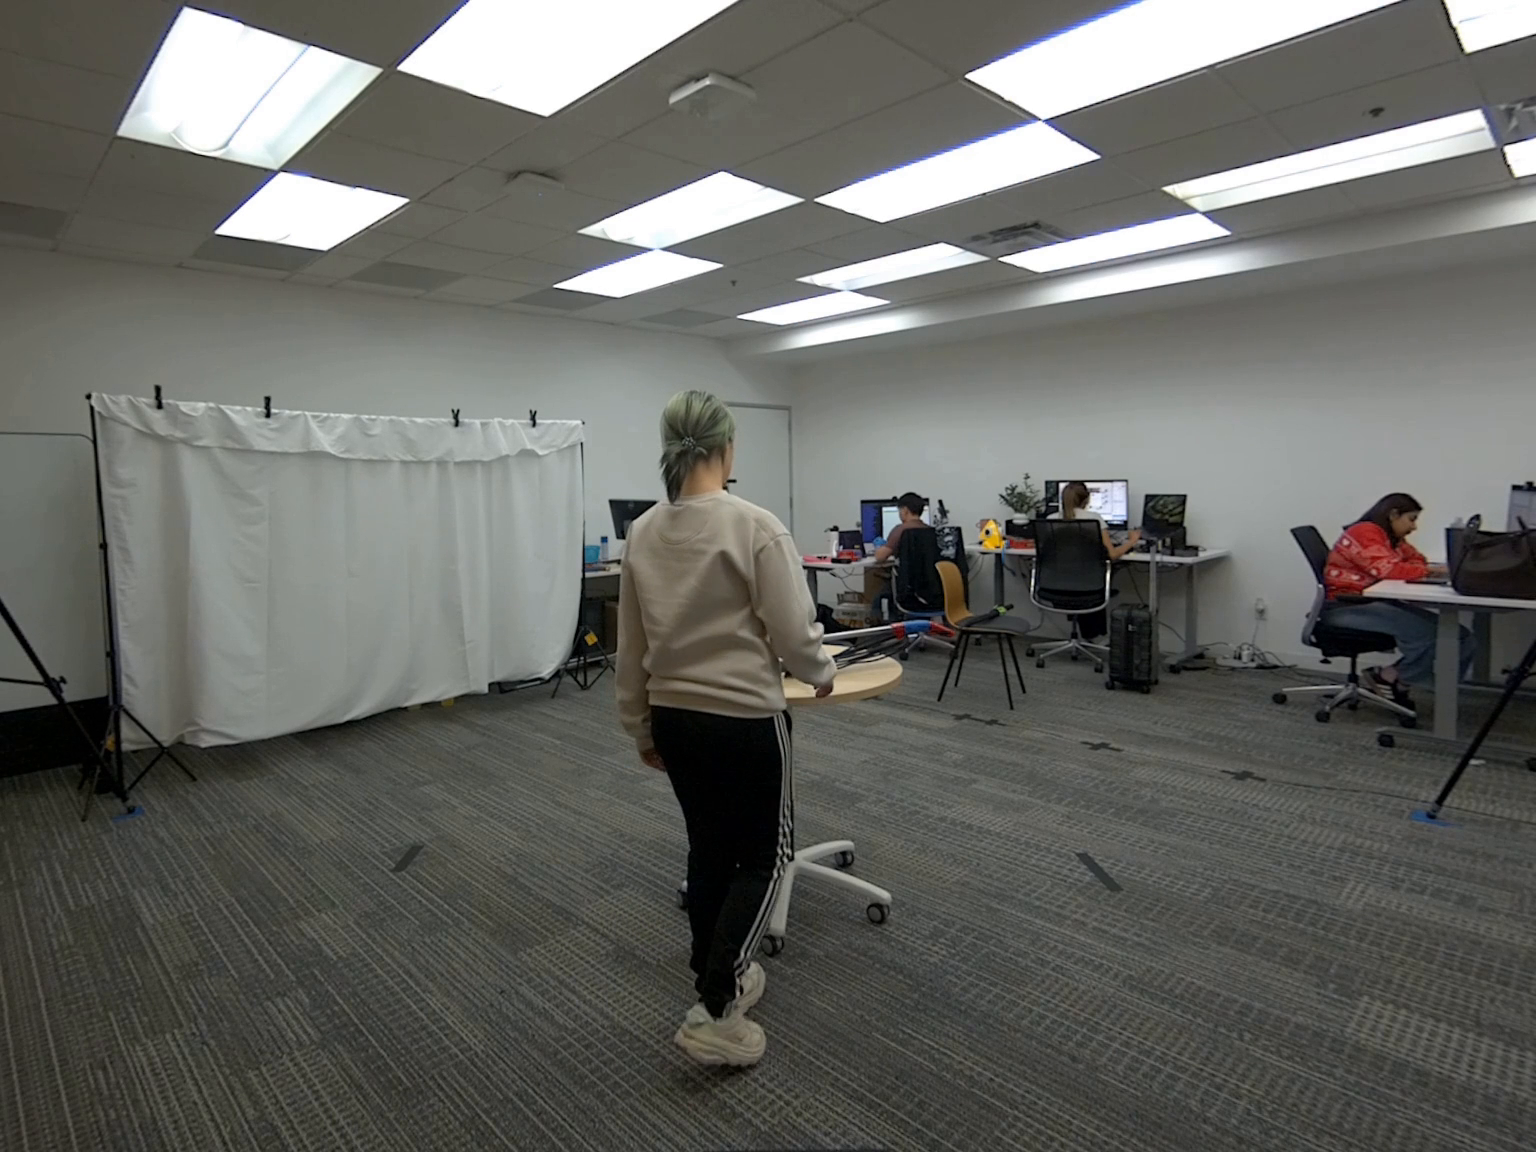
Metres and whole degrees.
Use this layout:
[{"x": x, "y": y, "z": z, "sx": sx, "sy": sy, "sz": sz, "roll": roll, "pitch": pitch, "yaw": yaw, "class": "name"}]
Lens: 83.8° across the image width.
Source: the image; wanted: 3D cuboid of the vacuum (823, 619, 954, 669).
[{"x": 0.146, "y": 0.259, "z": 2.670, "sx": 1.030, "sy": 0.142, "sz": 0.260, "roll": -6, "pitch": 12, "yaw": -22, "class": "vacuum"}]
